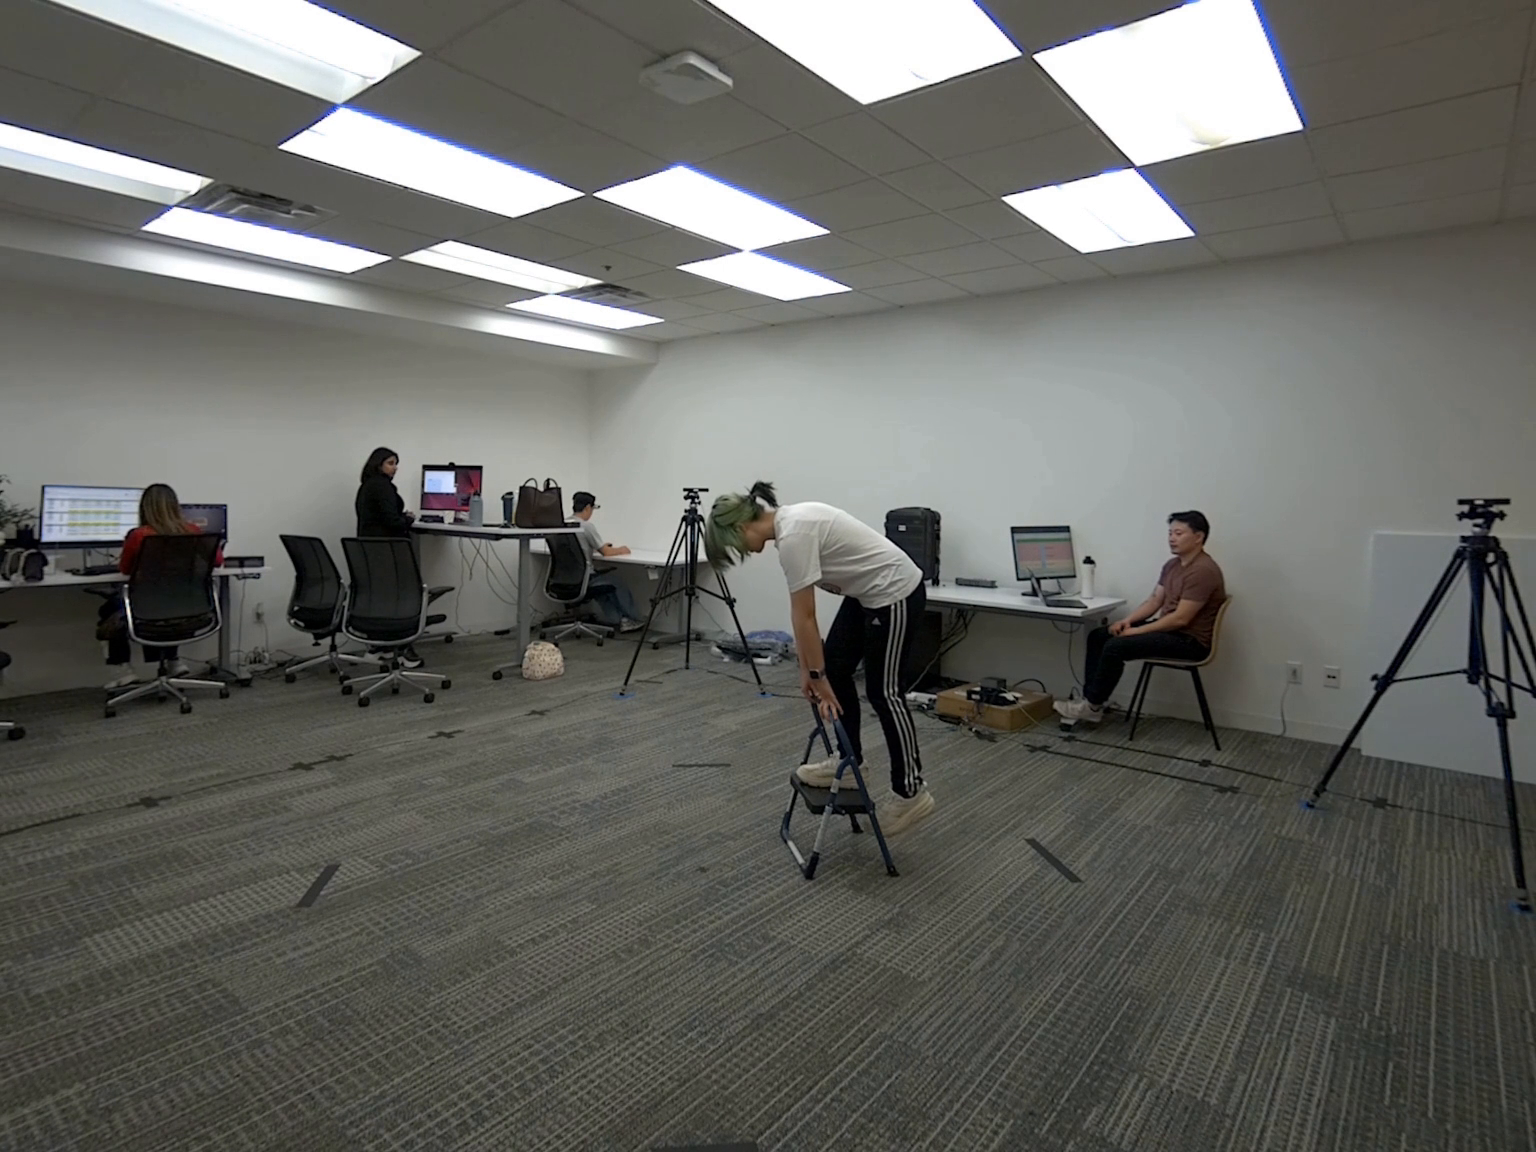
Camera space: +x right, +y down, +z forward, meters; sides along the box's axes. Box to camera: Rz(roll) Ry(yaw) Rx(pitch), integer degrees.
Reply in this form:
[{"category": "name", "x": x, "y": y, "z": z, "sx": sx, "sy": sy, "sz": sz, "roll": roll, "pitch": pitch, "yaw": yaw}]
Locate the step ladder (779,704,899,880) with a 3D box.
[{"category": "step ladder", "x": 0.260, "y": 0.768, "z": 3.254, "sx": 0.345, "sy": 0.604, "sz": 0.437, "roll": 1, "pitch": 4, "yaw": -12}]
